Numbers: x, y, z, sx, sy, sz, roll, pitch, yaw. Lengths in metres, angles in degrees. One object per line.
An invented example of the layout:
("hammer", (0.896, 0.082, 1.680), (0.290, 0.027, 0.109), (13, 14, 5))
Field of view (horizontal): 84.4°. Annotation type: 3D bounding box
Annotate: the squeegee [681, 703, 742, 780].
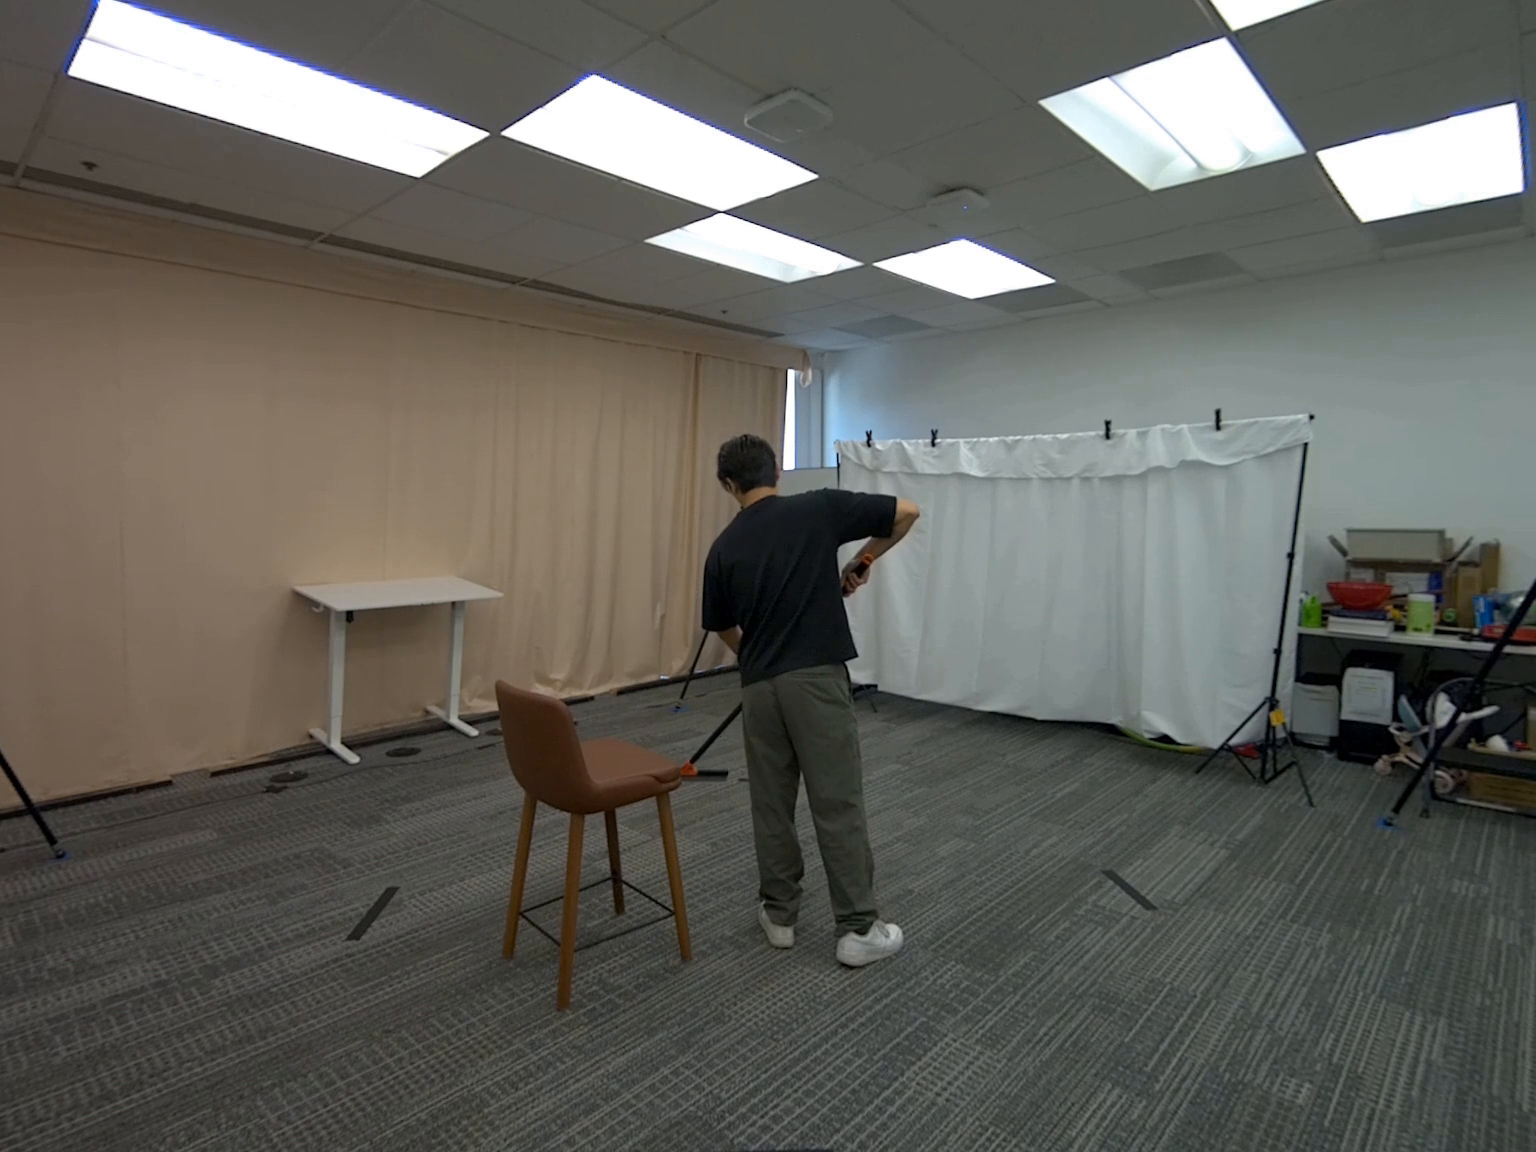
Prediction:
("squeegee", (-0.035, 0.396, 3.167), (0.425, 0.054, 1.542), (8, -42, -29))
